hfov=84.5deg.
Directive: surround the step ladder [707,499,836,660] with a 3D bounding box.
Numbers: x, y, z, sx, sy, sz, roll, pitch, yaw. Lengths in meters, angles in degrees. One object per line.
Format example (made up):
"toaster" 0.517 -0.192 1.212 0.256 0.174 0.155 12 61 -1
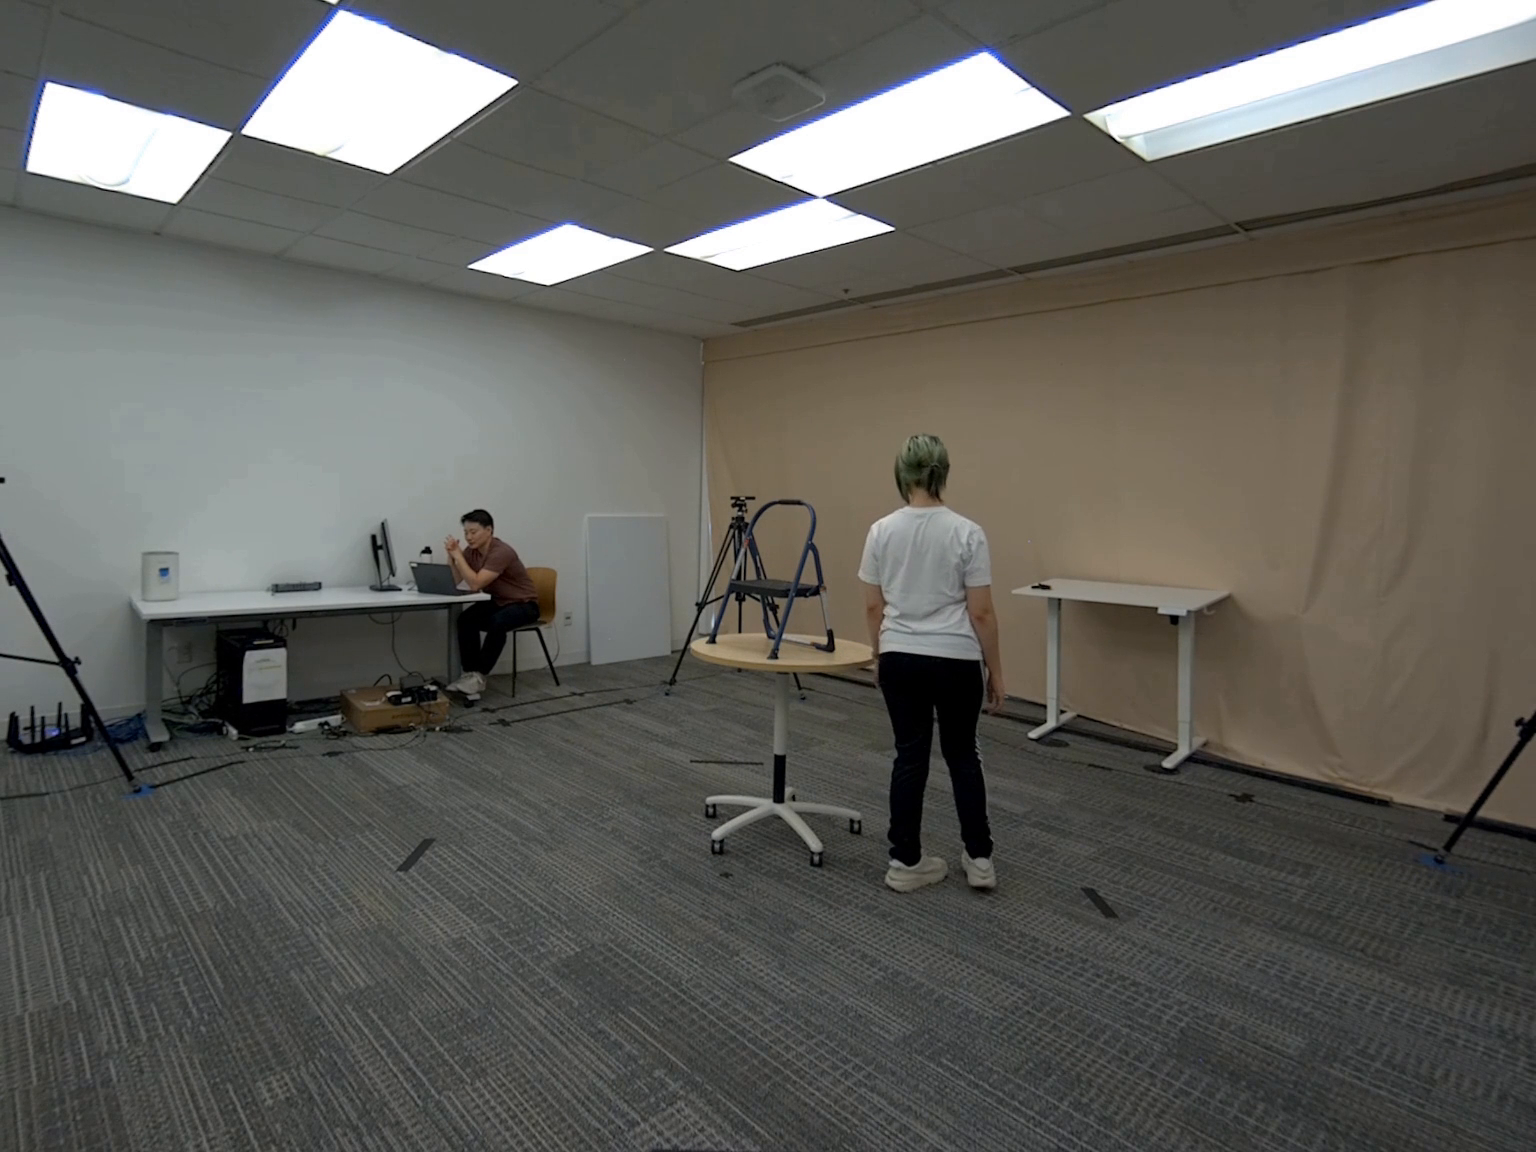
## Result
"step ladder" 0.015 -0.006 3.429 0.341 0.604 0.441 -1 4 -39
